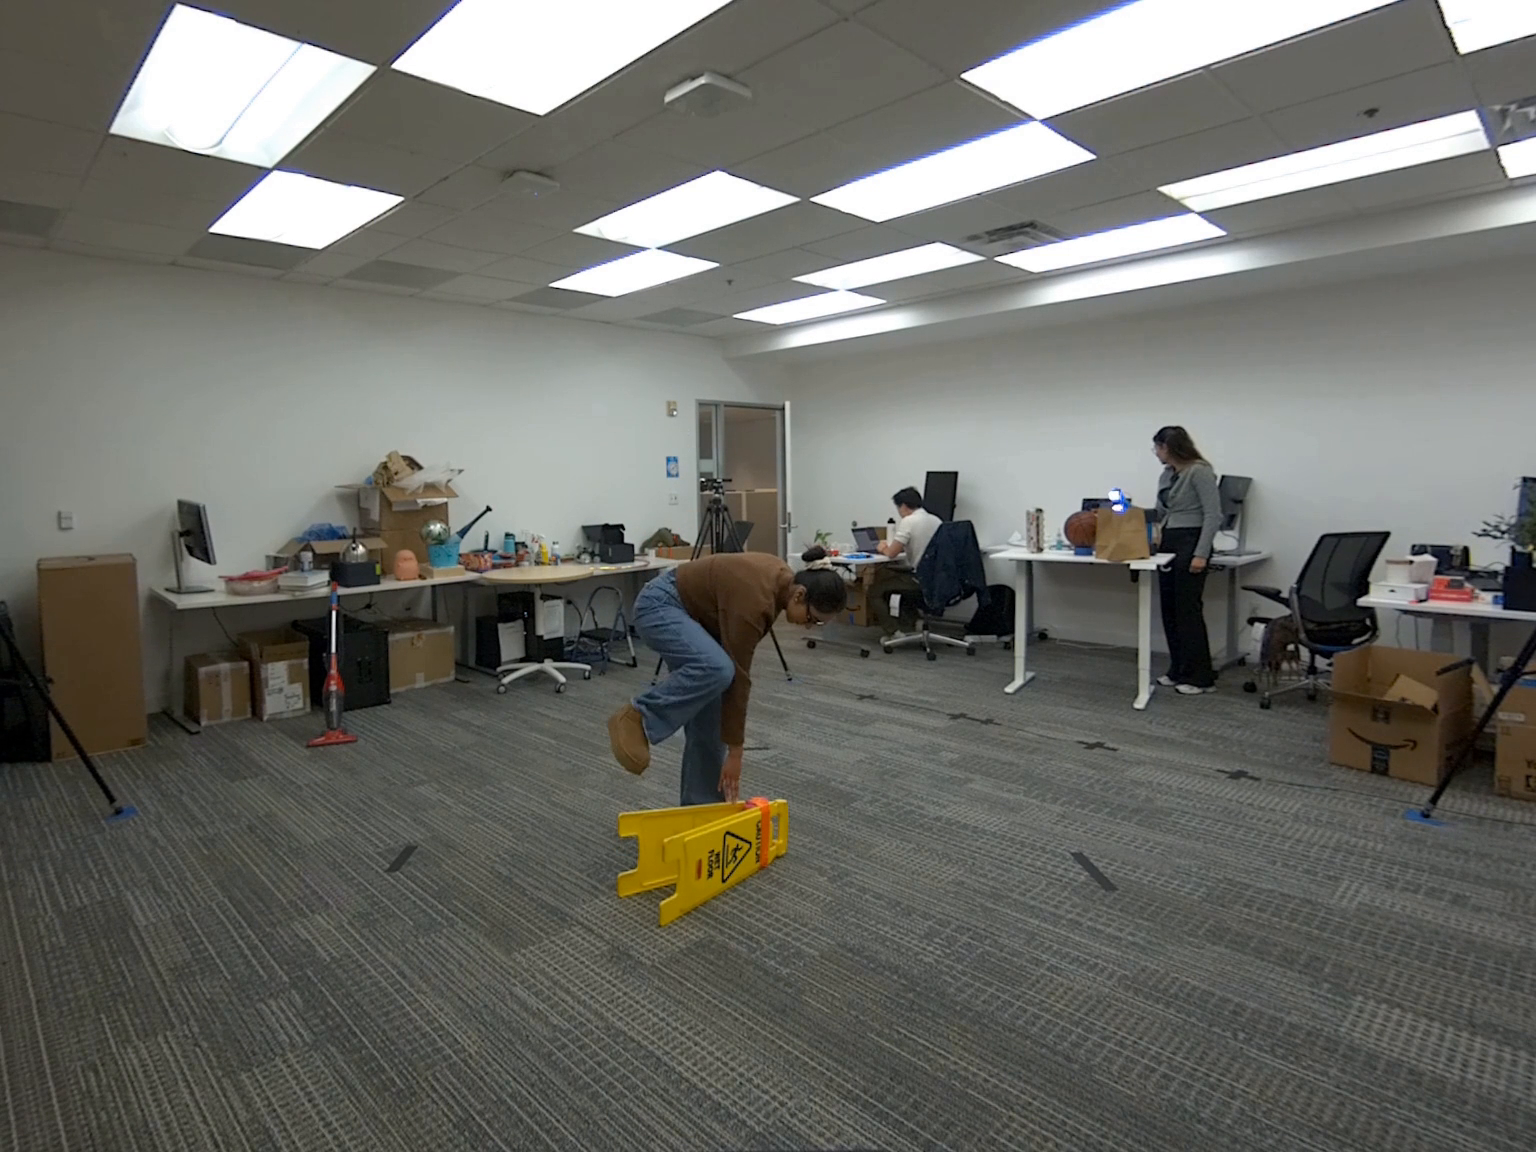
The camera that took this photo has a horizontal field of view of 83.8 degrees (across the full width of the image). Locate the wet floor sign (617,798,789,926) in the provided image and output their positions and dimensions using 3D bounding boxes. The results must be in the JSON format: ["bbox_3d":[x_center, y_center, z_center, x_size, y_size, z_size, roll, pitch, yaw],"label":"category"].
[{"bbox_3d":[-0.179,0.936,2.969,0.628,0.281,0.299,-3,5,-40],"label":"wet floor sign"}]
